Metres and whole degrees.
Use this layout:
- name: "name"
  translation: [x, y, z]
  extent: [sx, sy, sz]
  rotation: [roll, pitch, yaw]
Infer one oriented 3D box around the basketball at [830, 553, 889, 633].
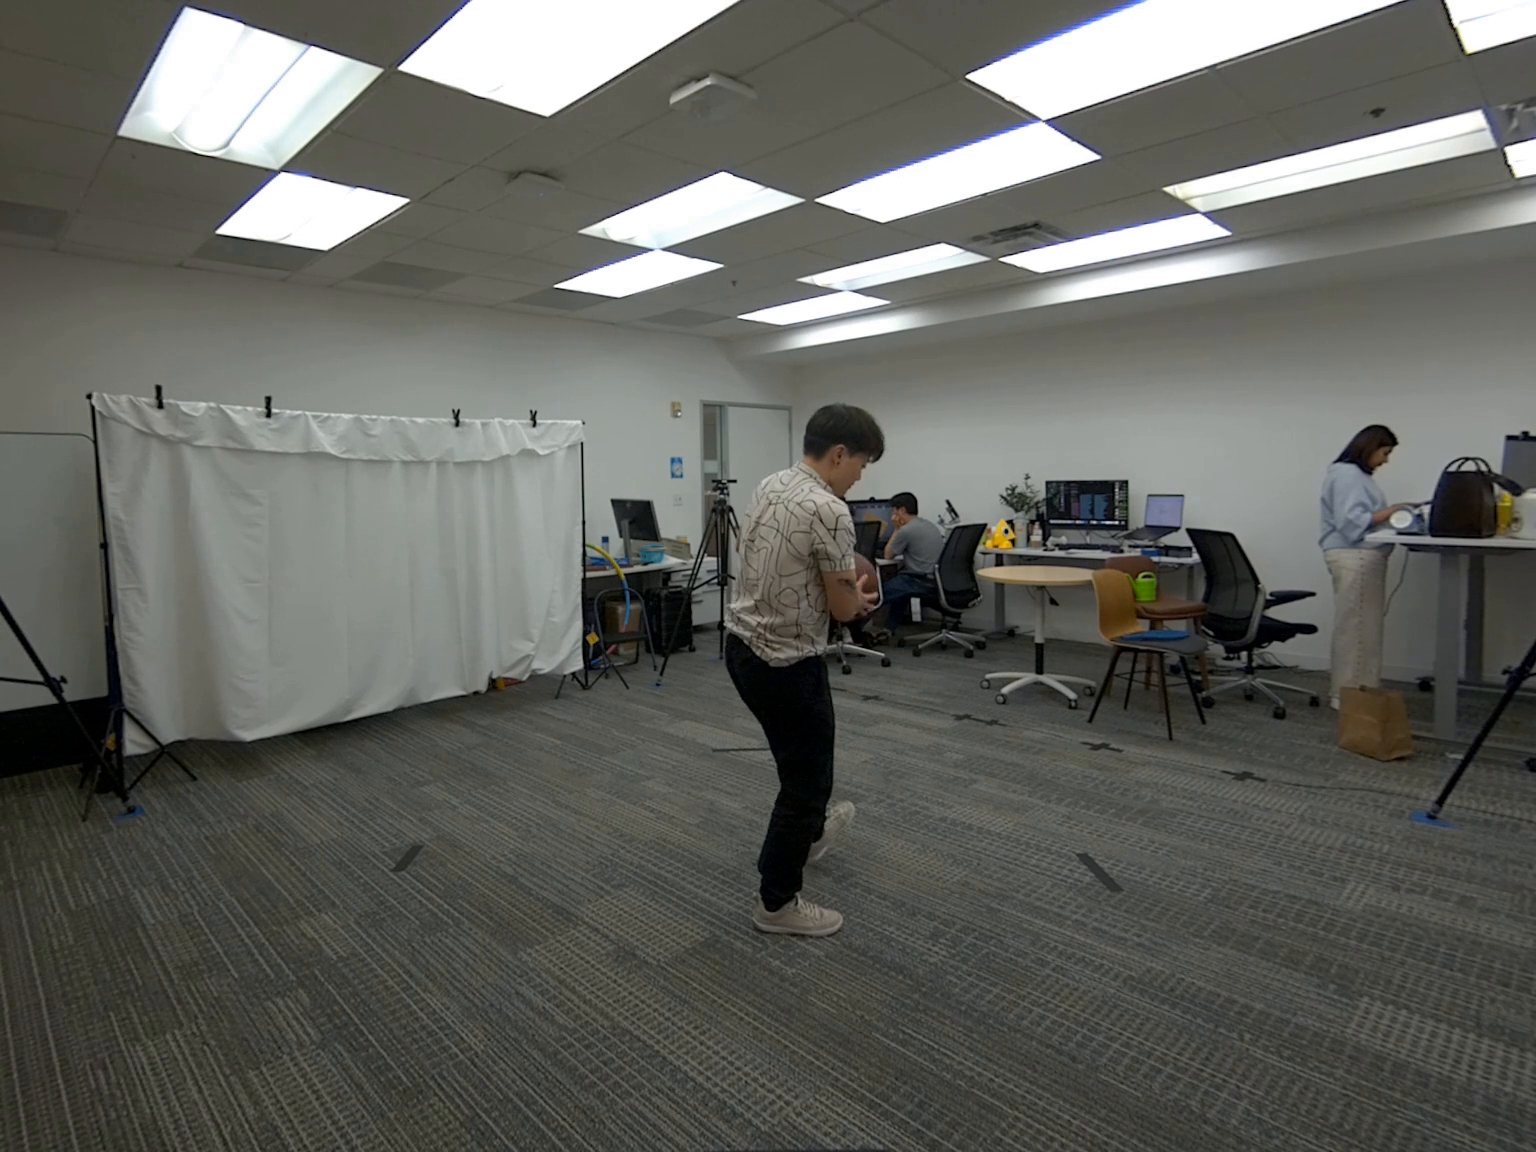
- name: "basketball"
  translation: [0.262, 0.051, 2.884]
  extent: [0.236, 0.235, 0.237]
  rotation: [-1, 5, -2]
